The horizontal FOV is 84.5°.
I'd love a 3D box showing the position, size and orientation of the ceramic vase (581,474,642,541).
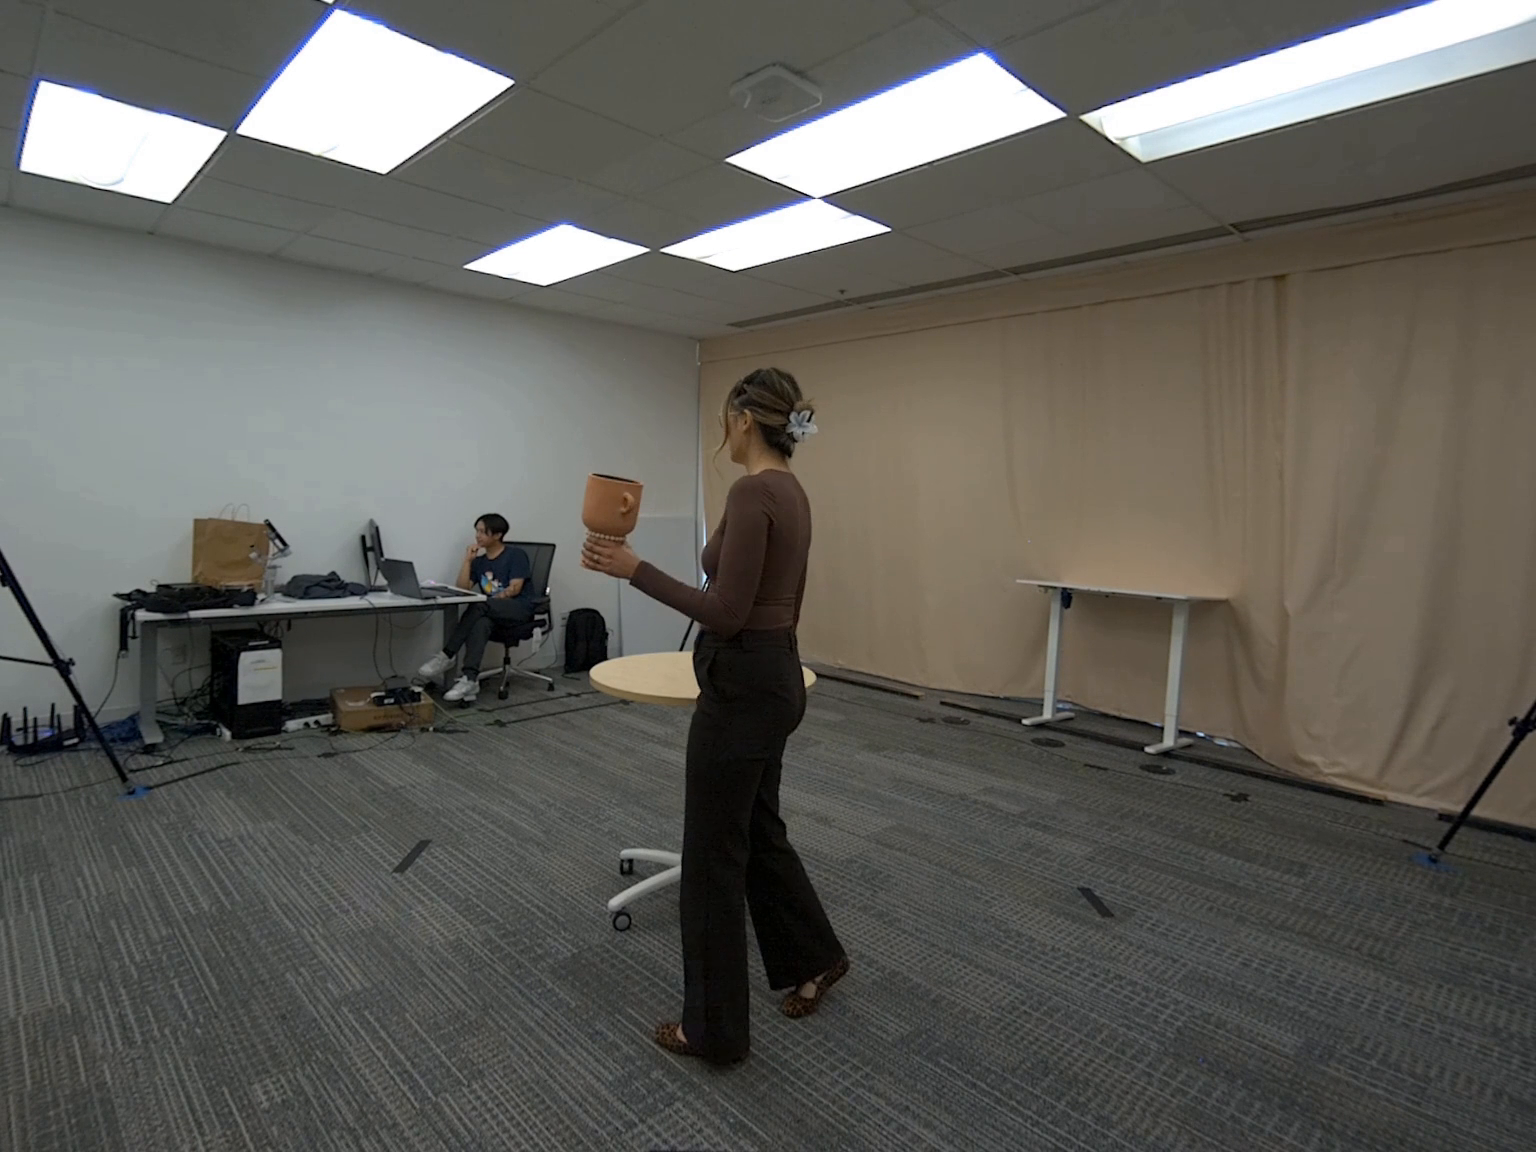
[{"bbox_3d":[-0.378,-0.123,2.020,0.135,0.219,0.159,12,7,1],"label":"ceramic vase"}]
